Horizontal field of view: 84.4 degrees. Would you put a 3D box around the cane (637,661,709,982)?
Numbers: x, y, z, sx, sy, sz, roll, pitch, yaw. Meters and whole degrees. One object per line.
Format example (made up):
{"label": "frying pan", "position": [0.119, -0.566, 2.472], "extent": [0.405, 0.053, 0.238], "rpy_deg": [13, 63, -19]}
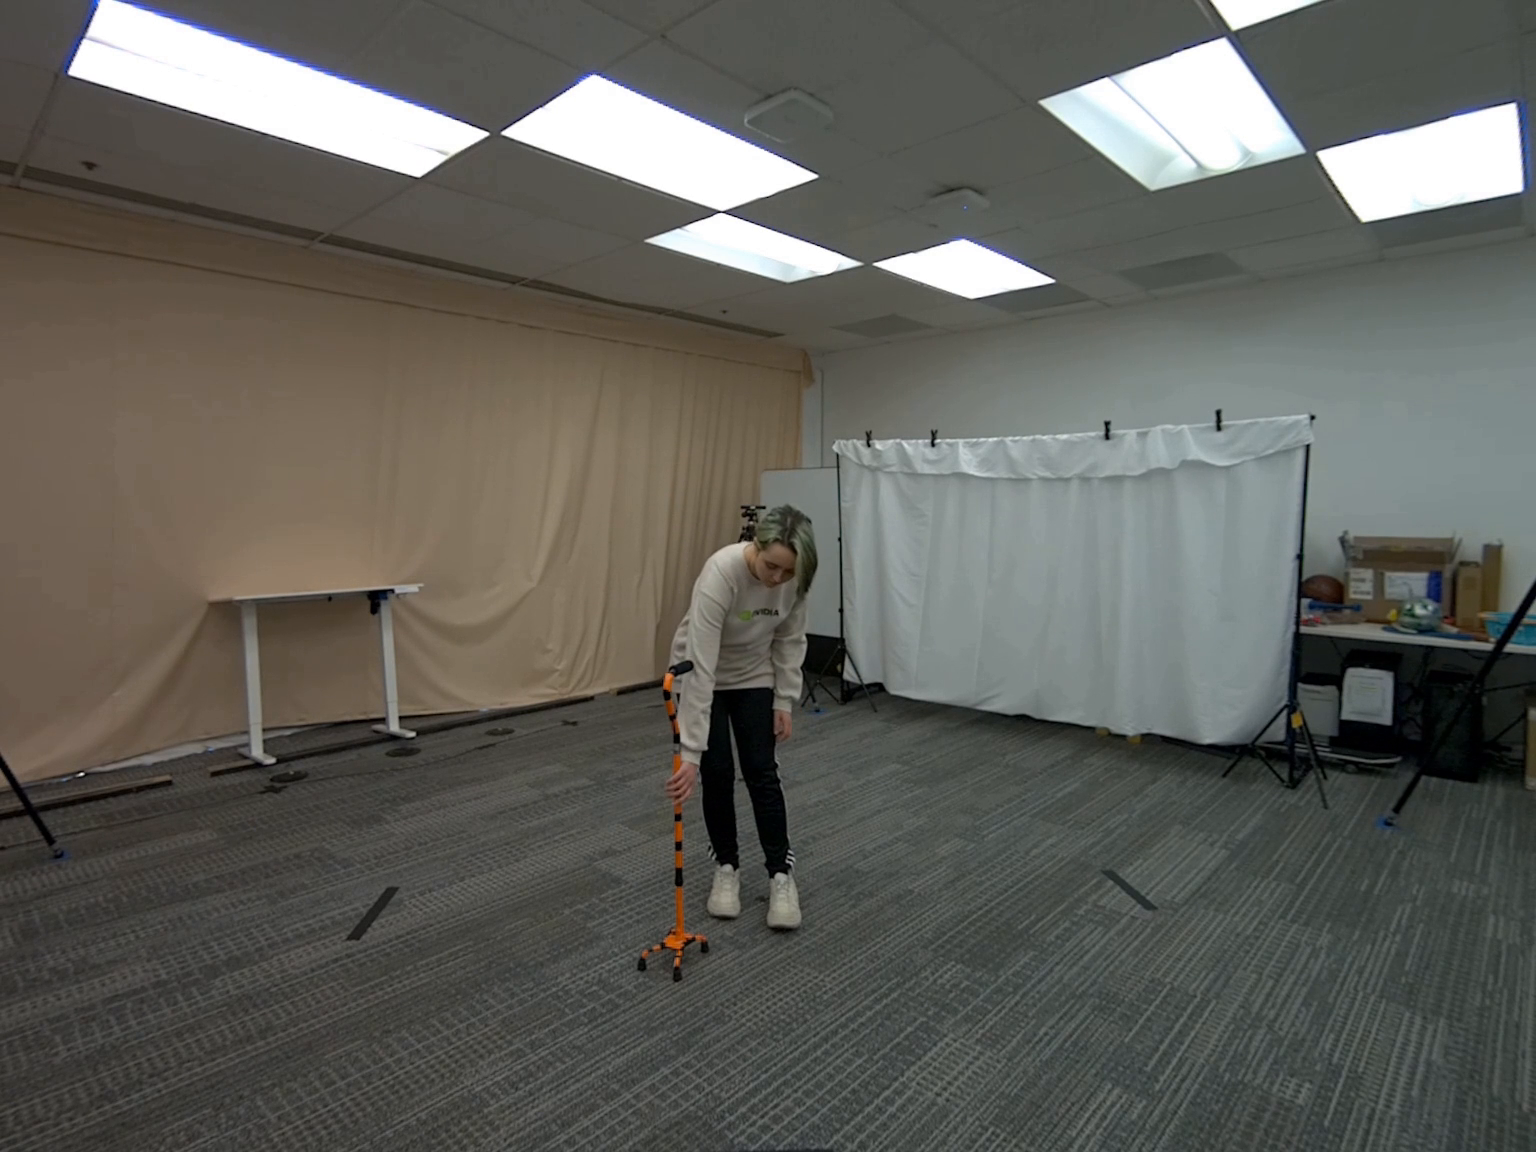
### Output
{"label": "cane", "position": [-0.282, 0.725, 2.551], "extent": [0.155, 0.905, 0.201], "rpy_deg": [3, 5, 25]}
